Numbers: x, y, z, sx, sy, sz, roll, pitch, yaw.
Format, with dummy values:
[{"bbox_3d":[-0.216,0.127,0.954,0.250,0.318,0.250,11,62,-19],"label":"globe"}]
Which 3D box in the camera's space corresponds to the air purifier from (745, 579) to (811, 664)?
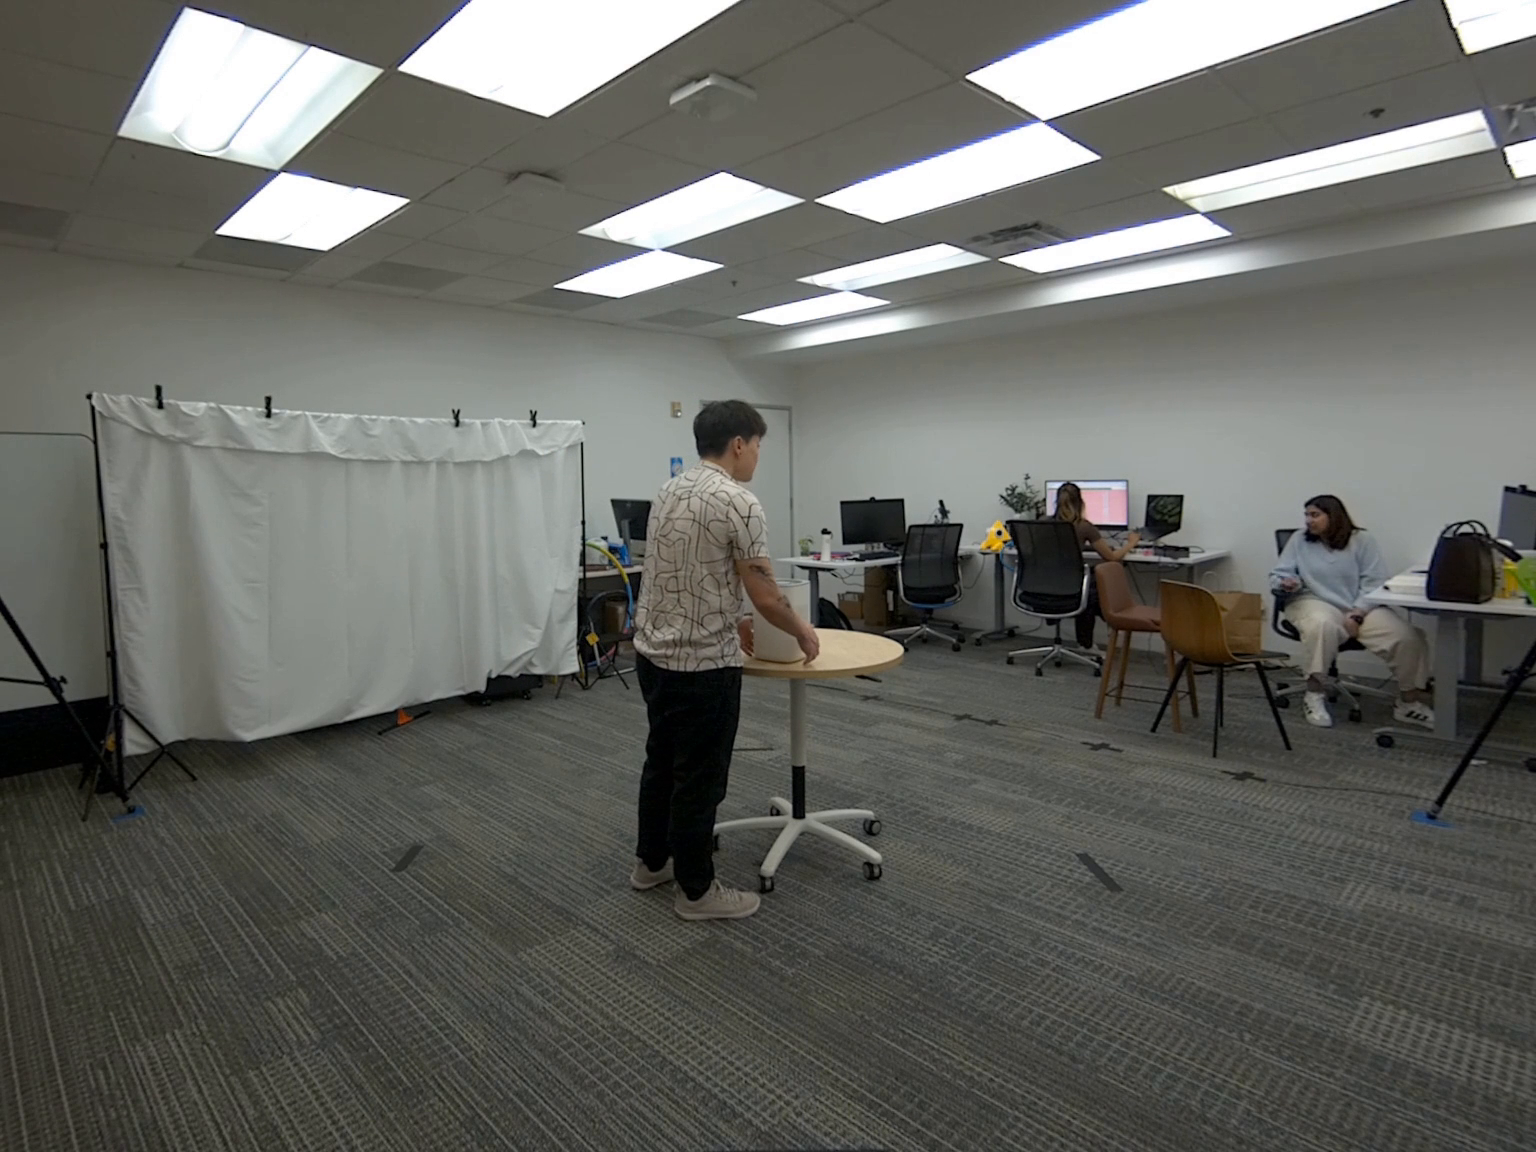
[{"bbox_3d":[0.051,0.154,2.939,0.175,0.265,0.167,2,3,30],"label":"air purifier"}]
